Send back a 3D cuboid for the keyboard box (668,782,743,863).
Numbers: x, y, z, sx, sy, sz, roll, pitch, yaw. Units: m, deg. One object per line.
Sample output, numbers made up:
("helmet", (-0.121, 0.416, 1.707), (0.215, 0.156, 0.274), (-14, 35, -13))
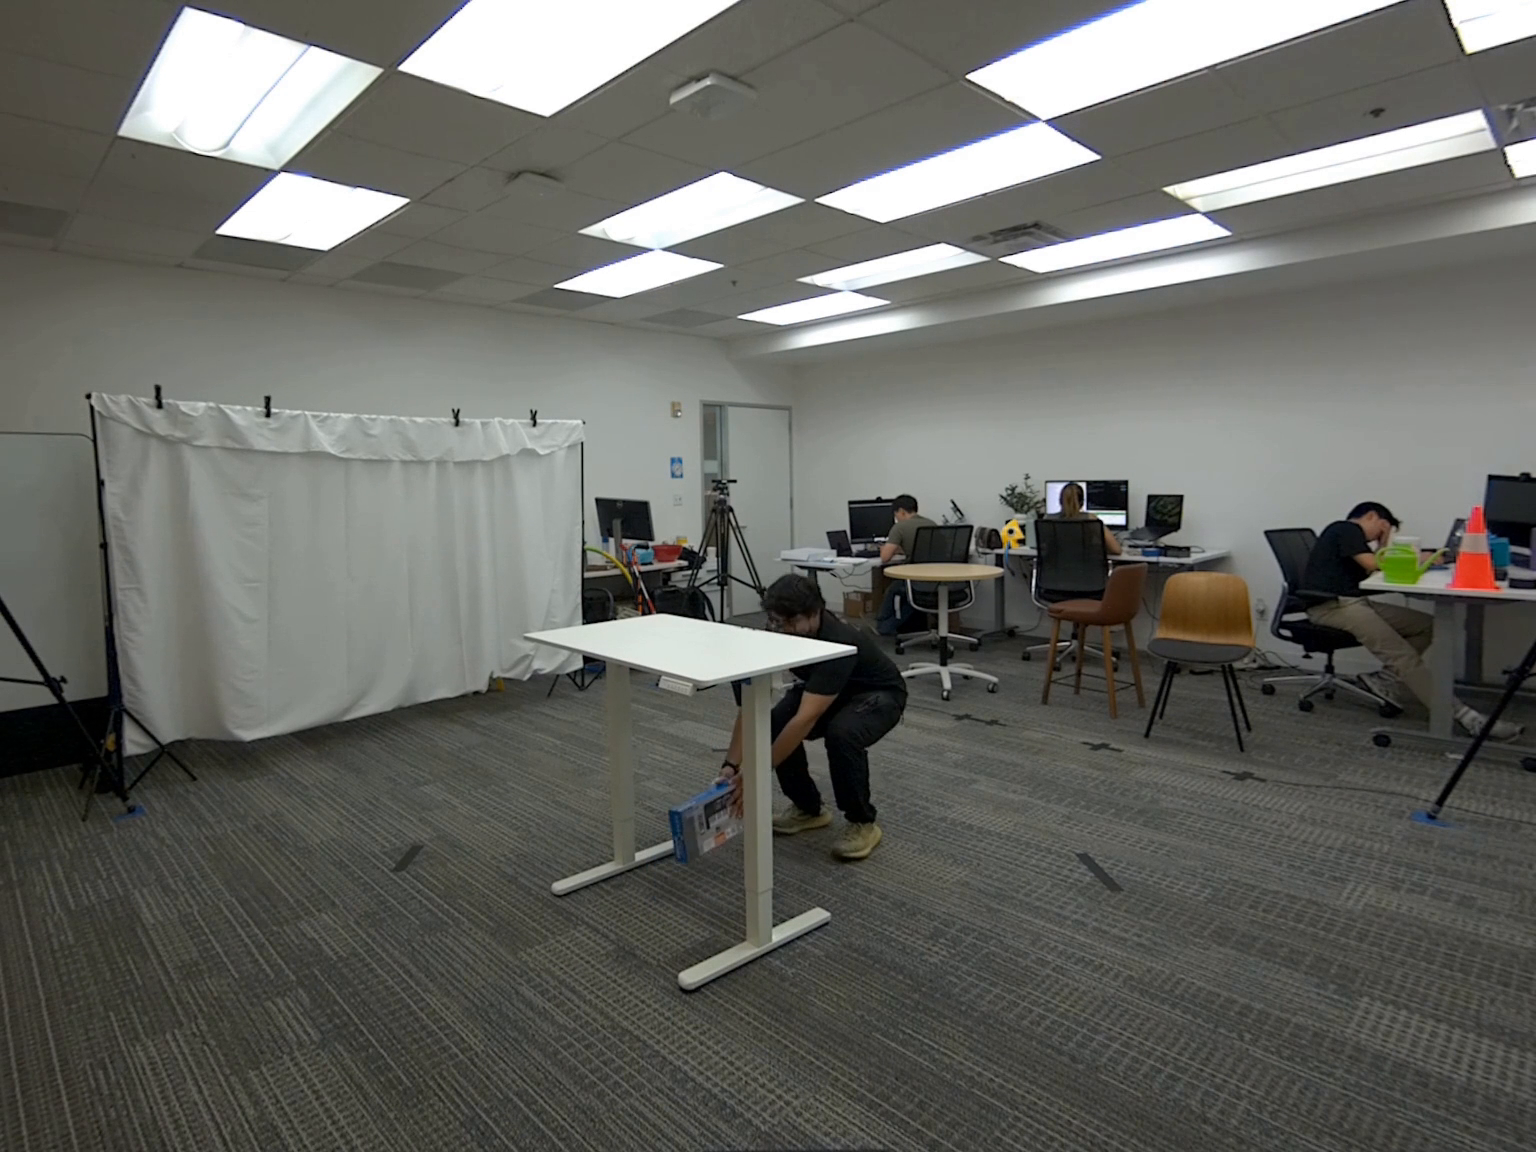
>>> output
("keyboard box", (-0.145, 0.800, 2.924), (0.061, 0.175, 0.427), (-3, 8, 42))
